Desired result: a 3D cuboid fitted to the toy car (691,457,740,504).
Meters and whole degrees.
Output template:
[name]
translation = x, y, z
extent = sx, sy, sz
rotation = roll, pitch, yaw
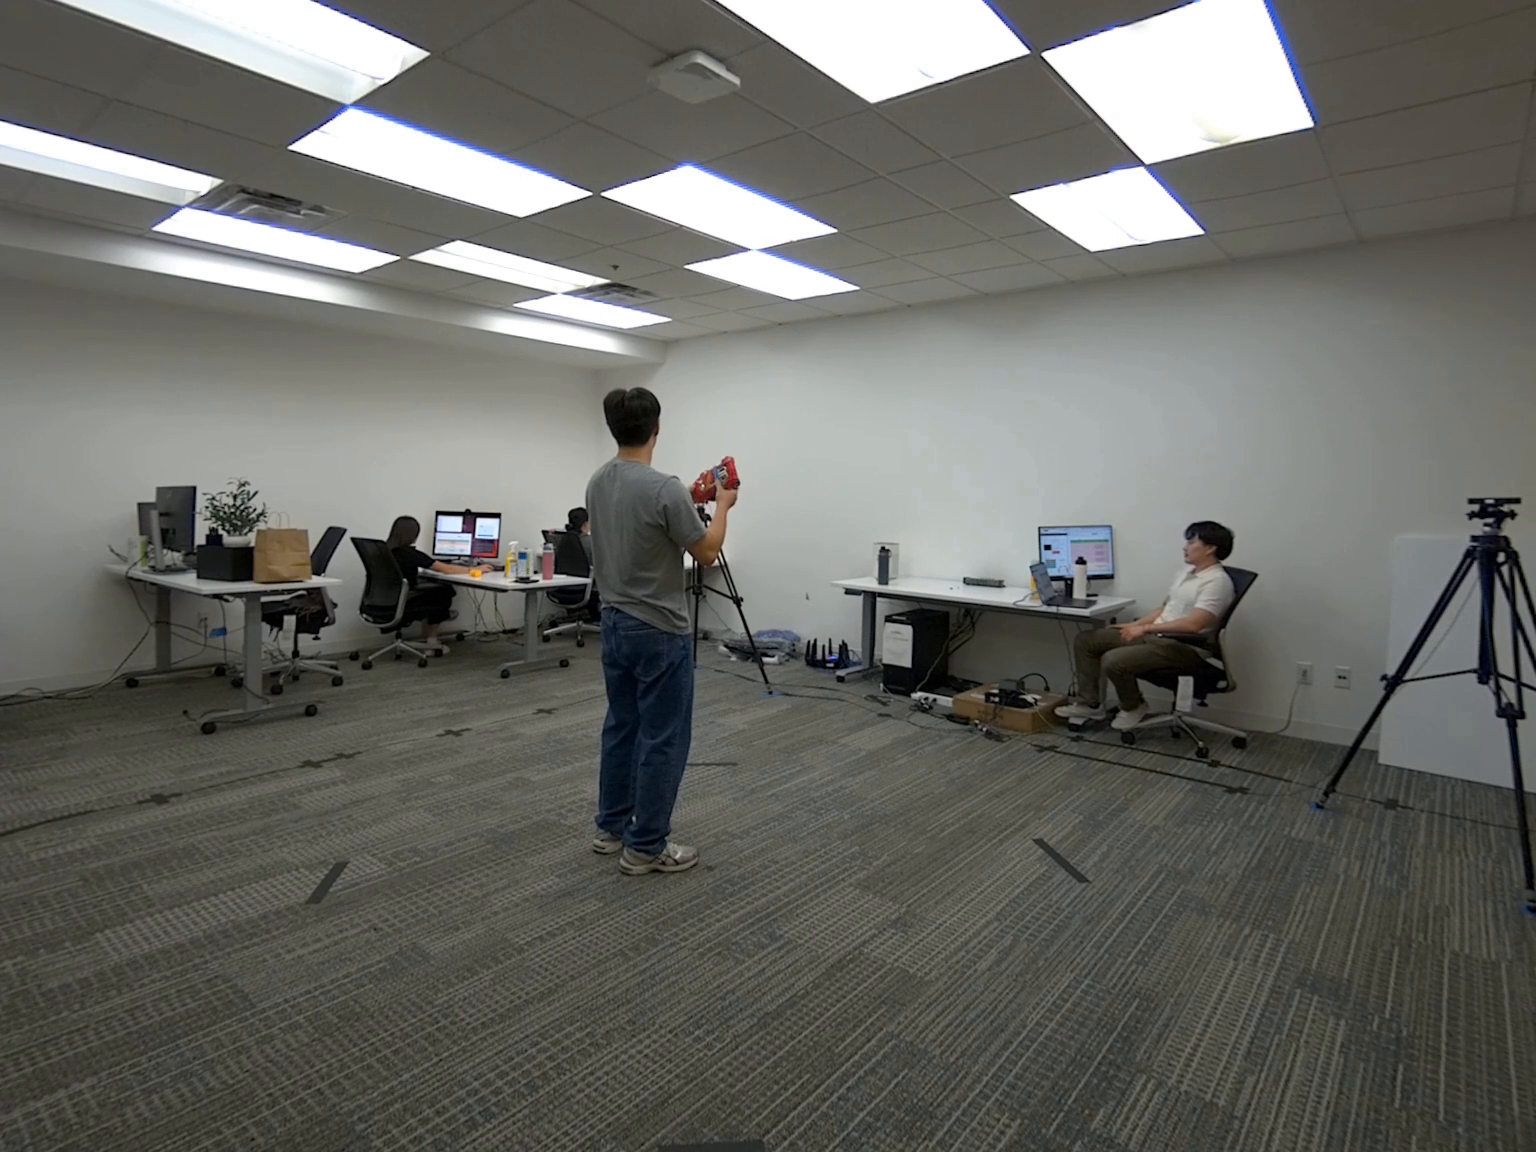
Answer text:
[toy car]
translation = -0.221, -0.373, 3.315
extent = 0.259, 0.132, 0.080
rotation = -21, -14, 40
